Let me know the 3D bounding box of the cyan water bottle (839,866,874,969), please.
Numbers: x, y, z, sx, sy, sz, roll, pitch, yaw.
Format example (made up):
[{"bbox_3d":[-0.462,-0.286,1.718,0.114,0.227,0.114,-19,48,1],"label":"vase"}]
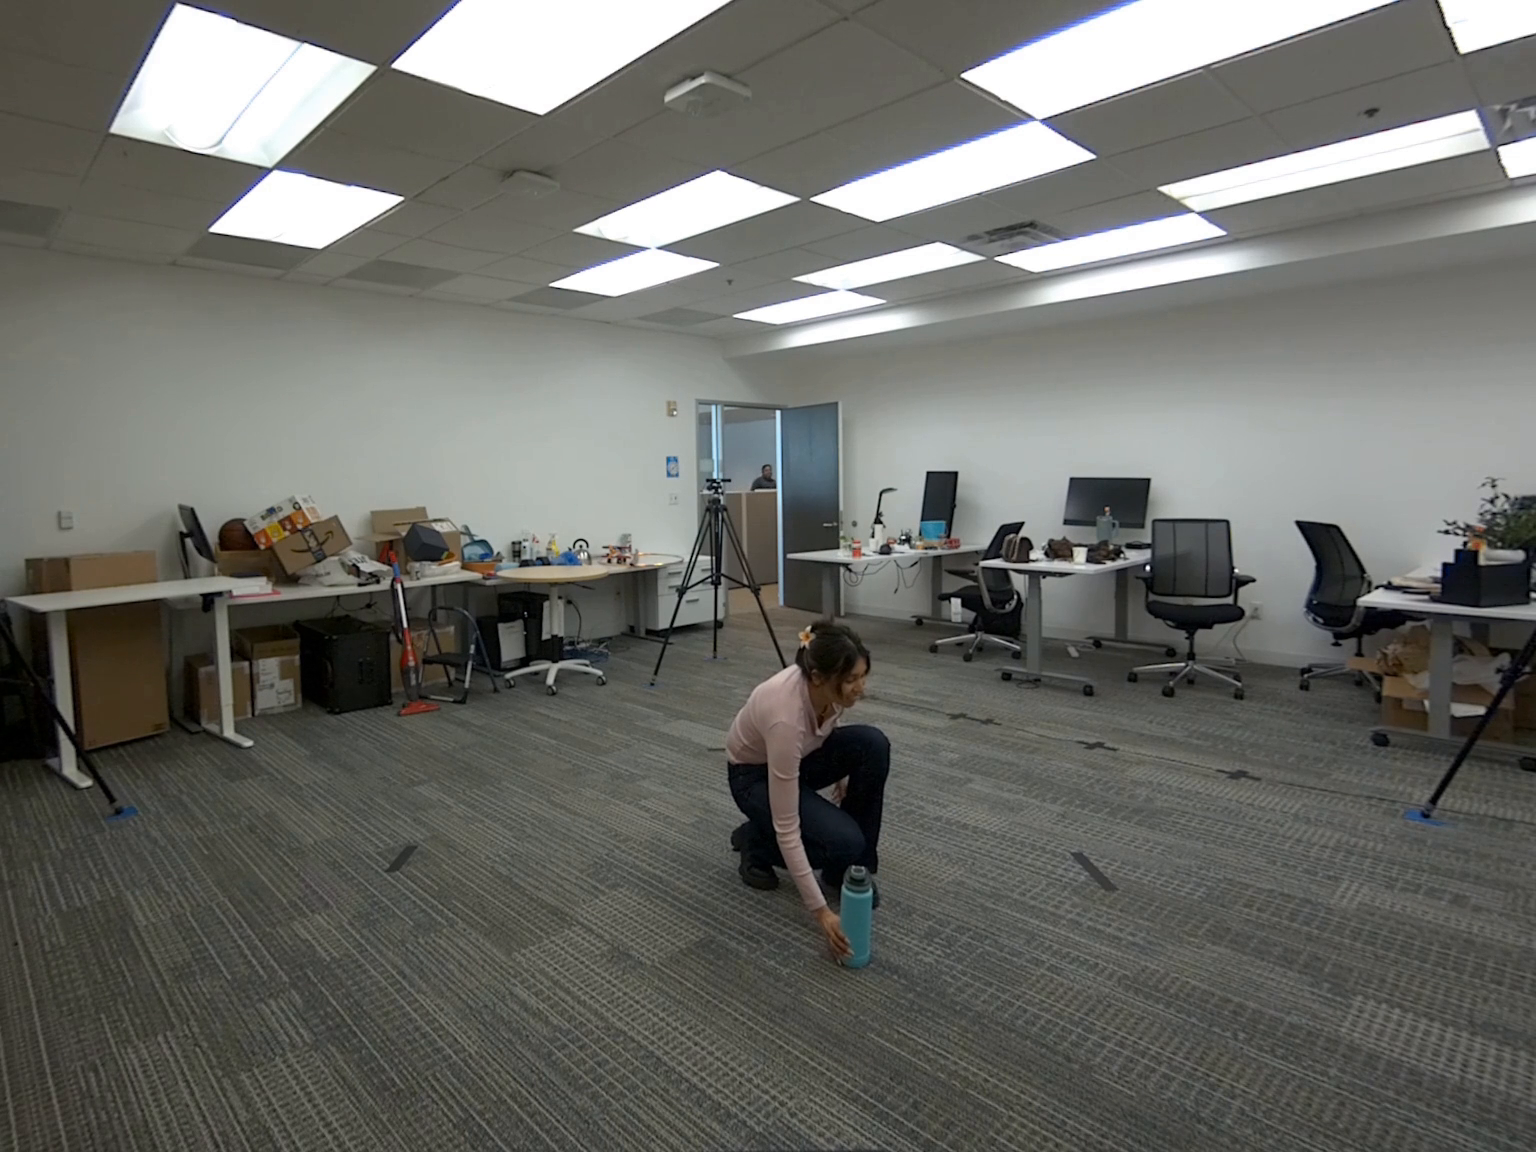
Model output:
[{"bbox_3d":[0.254,0.976,2.455,0.092,0.281,0.093,1,8,-2],"label":"cyan water bottle"}]
